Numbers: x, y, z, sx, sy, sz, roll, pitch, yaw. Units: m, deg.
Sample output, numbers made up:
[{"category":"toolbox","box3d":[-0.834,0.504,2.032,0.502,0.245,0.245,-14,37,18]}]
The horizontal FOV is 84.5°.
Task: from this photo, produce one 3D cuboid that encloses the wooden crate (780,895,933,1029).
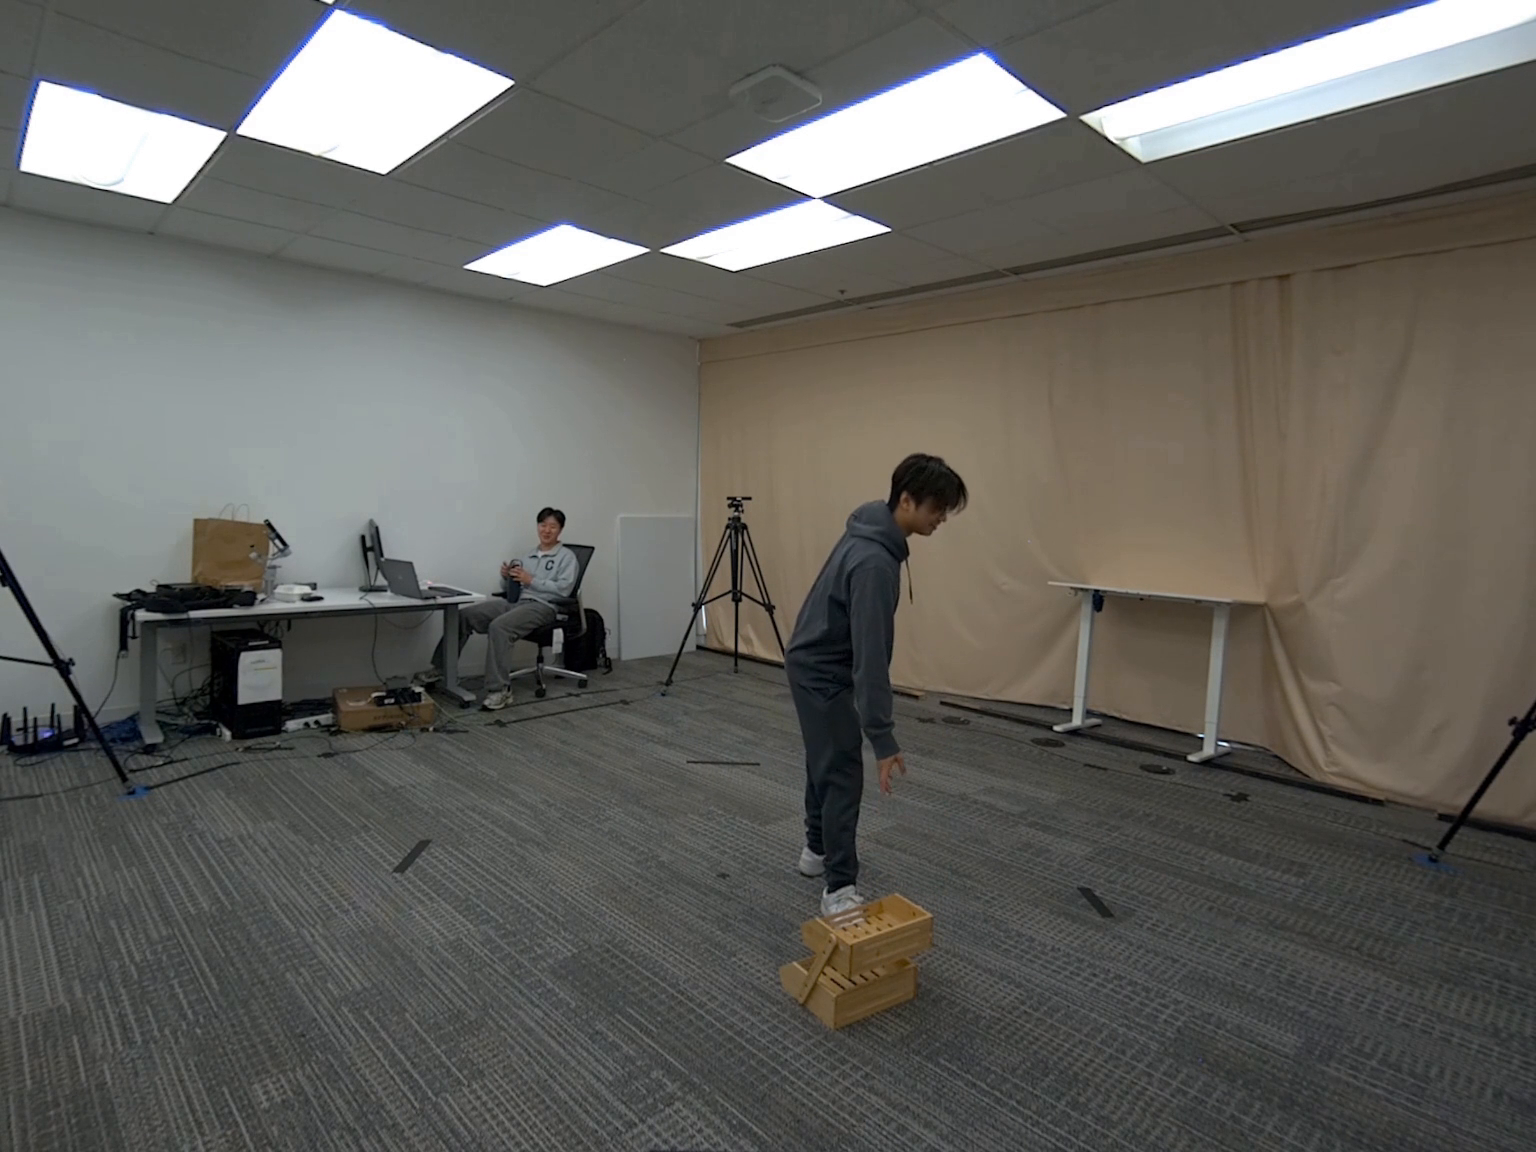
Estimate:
[{"category":"wooden crate","box3d":[0.236,1.046,2.371,0.317,0.272,0.309,-2,6,-35]}]
